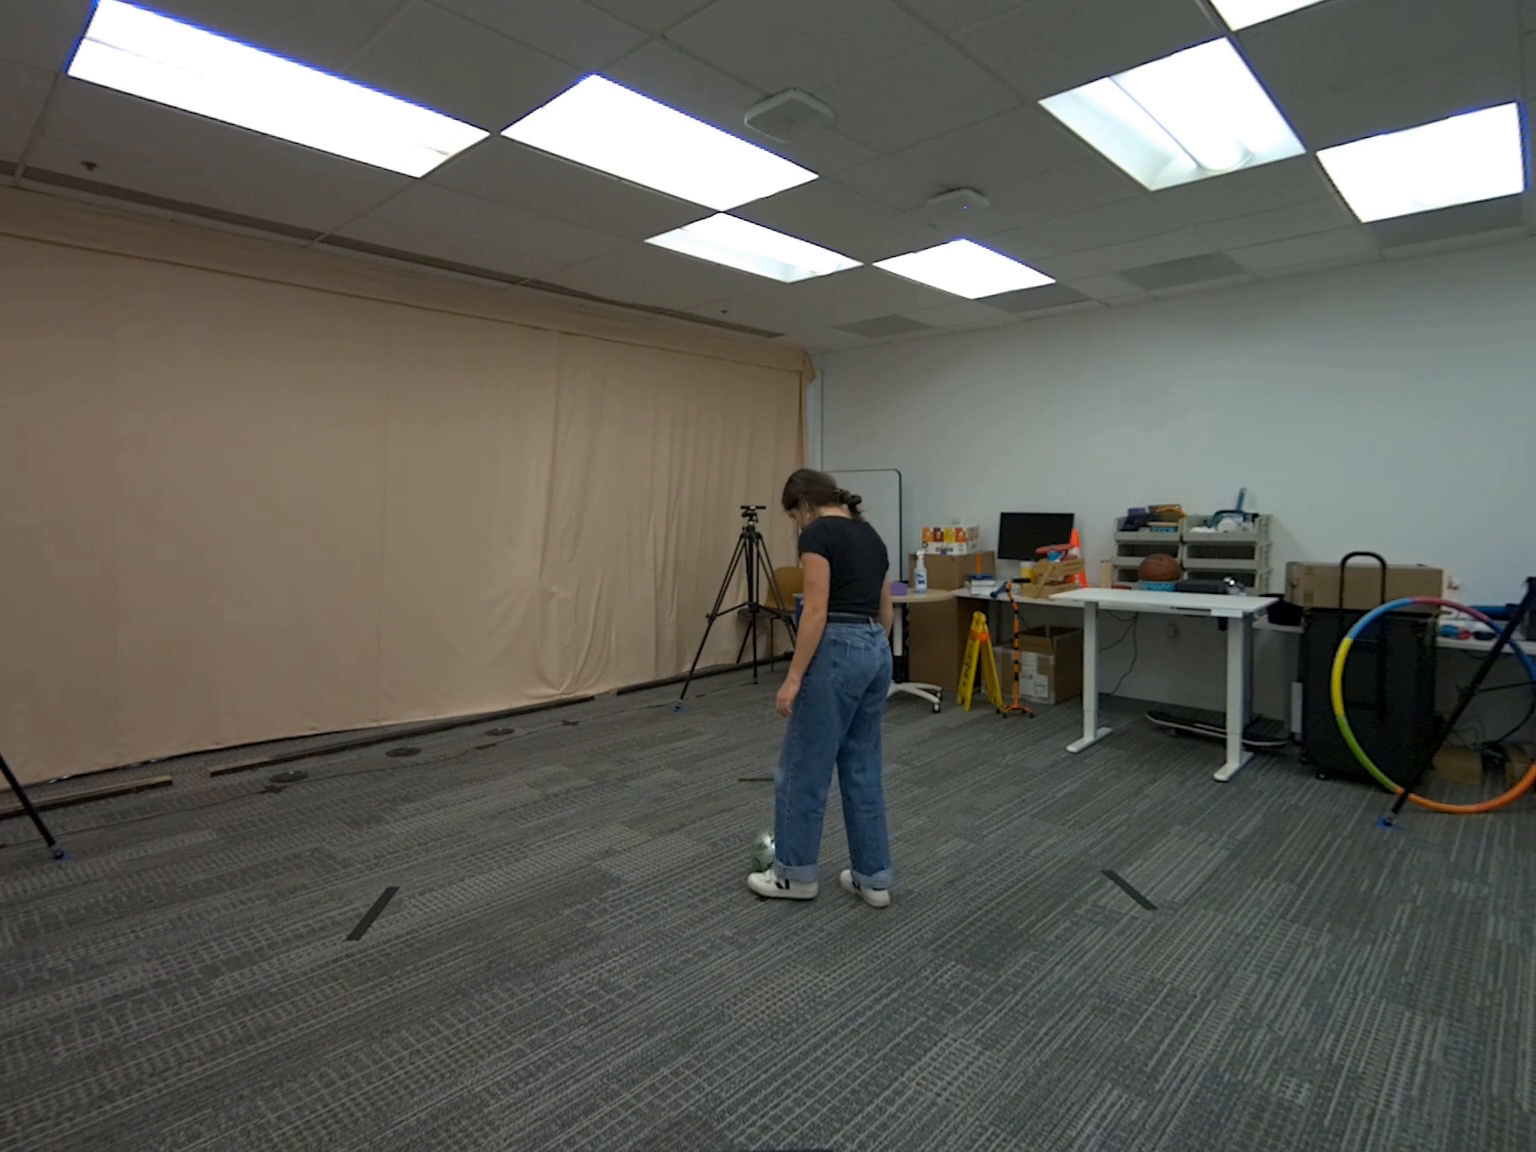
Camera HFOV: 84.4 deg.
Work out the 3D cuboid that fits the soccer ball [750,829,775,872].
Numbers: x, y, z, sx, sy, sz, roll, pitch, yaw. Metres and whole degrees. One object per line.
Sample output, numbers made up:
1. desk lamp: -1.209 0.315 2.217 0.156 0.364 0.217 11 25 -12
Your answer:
1. soccer ball: 0.036 1.038 3.143 0.187 0.187 0.188 0 4 -2
